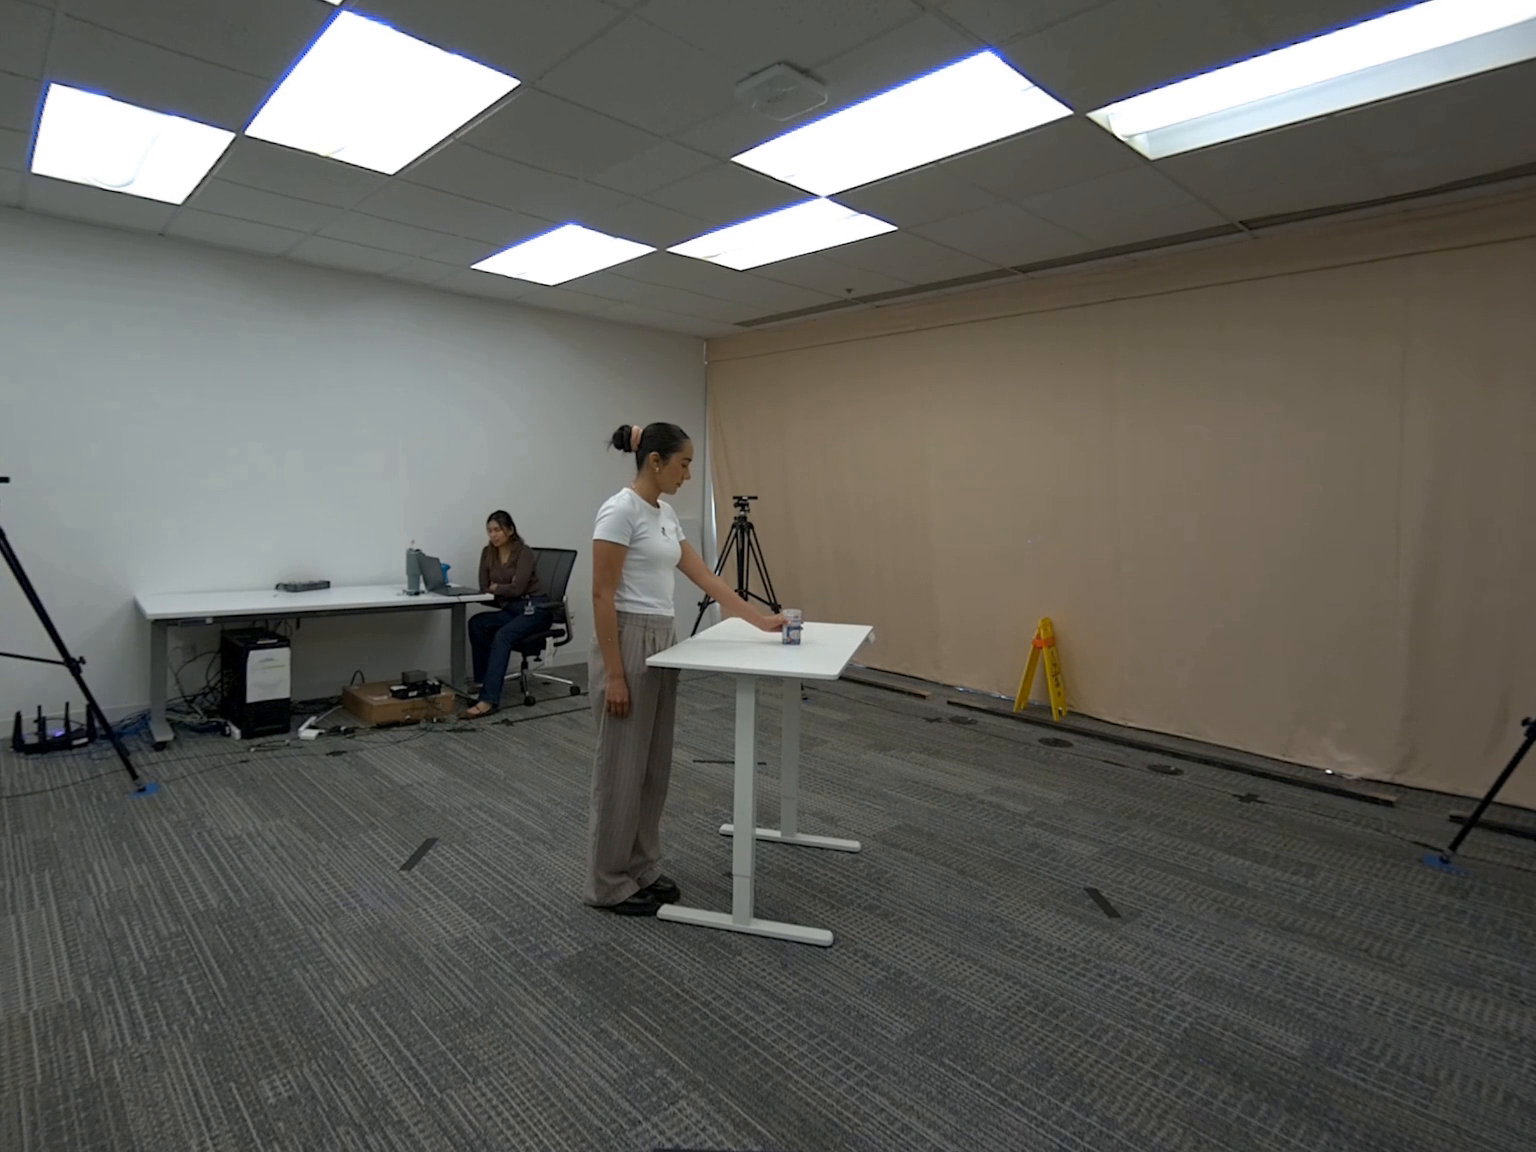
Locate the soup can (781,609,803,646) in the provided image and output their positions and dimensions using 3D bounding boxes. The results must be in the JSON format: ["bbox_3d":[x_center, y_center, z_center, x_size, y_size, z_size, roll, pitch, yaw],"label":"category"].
[{"bbox_3d":[0.071,0.182,2.964,0.067,0.121,0.067,1,1,-1],"label":"soup can"}]
